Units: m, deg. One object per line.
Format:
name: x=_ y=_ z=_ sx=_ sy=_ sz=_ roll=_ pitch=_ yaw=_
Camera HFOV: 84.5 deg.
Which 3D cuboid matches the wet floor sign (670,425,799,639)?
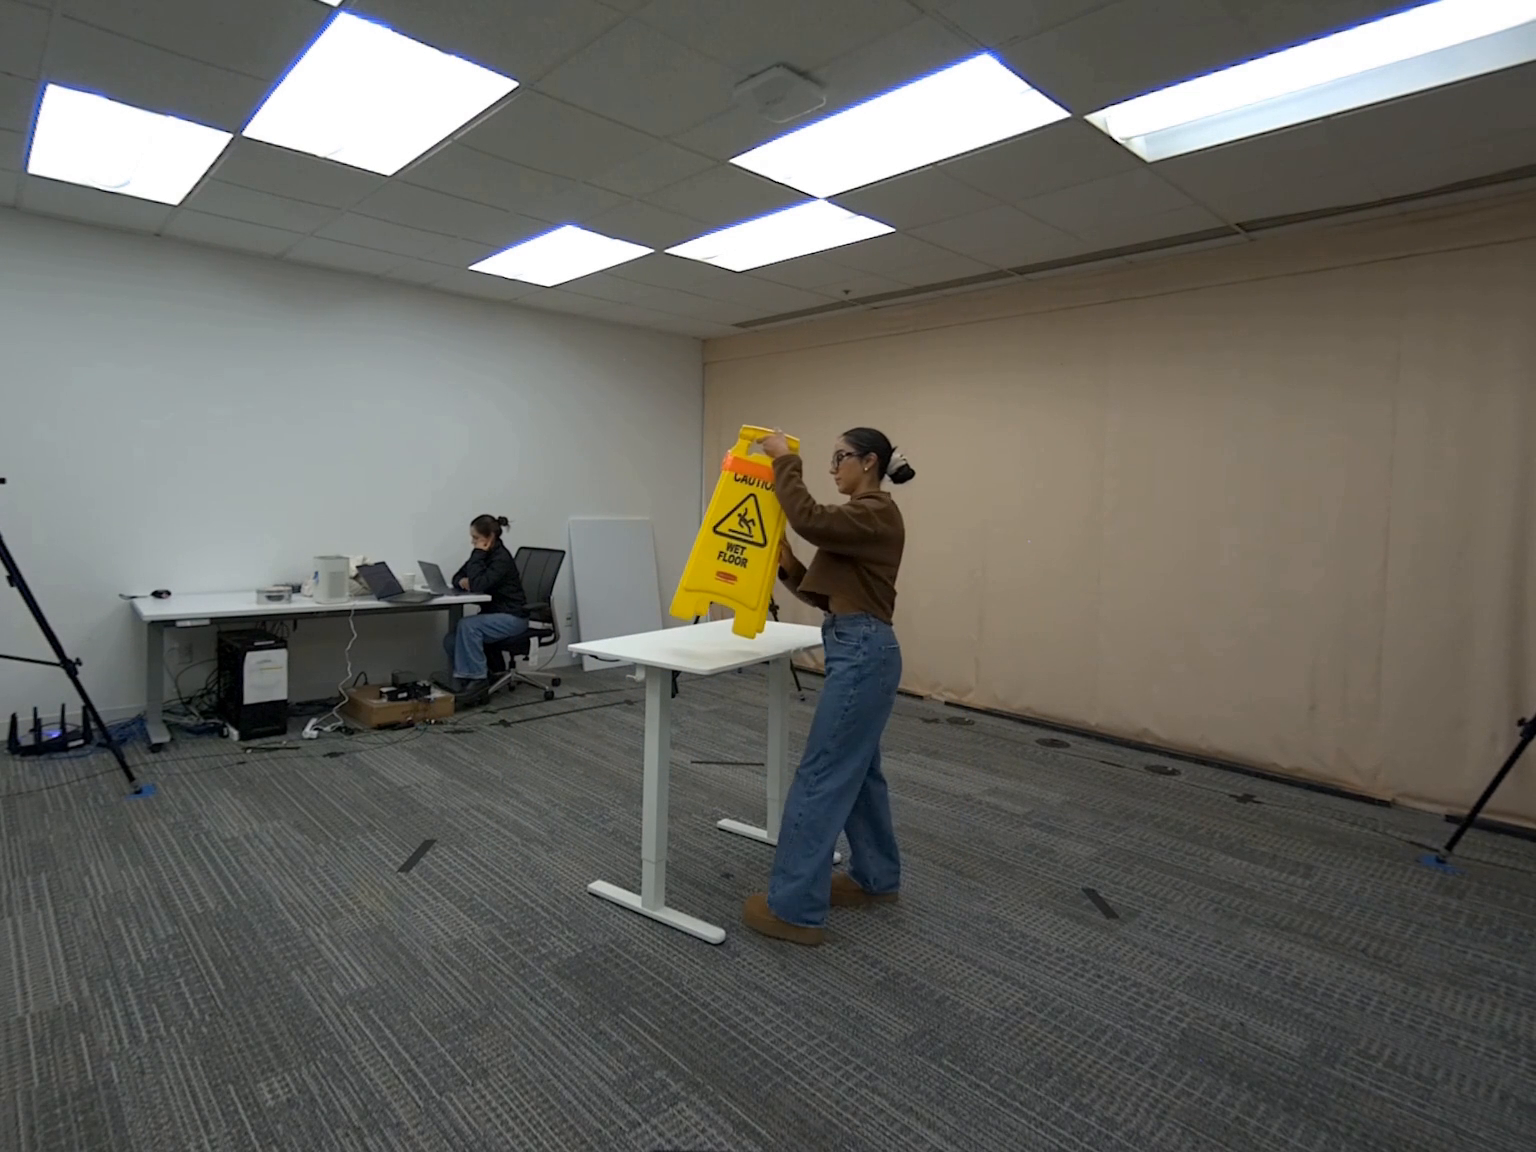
wet floor sign: x=-0.070 y=-0.151 z=2.707 sx=0.284 sy=0.646 sz=0.287 roll=13 pitch=0 yaw=7
